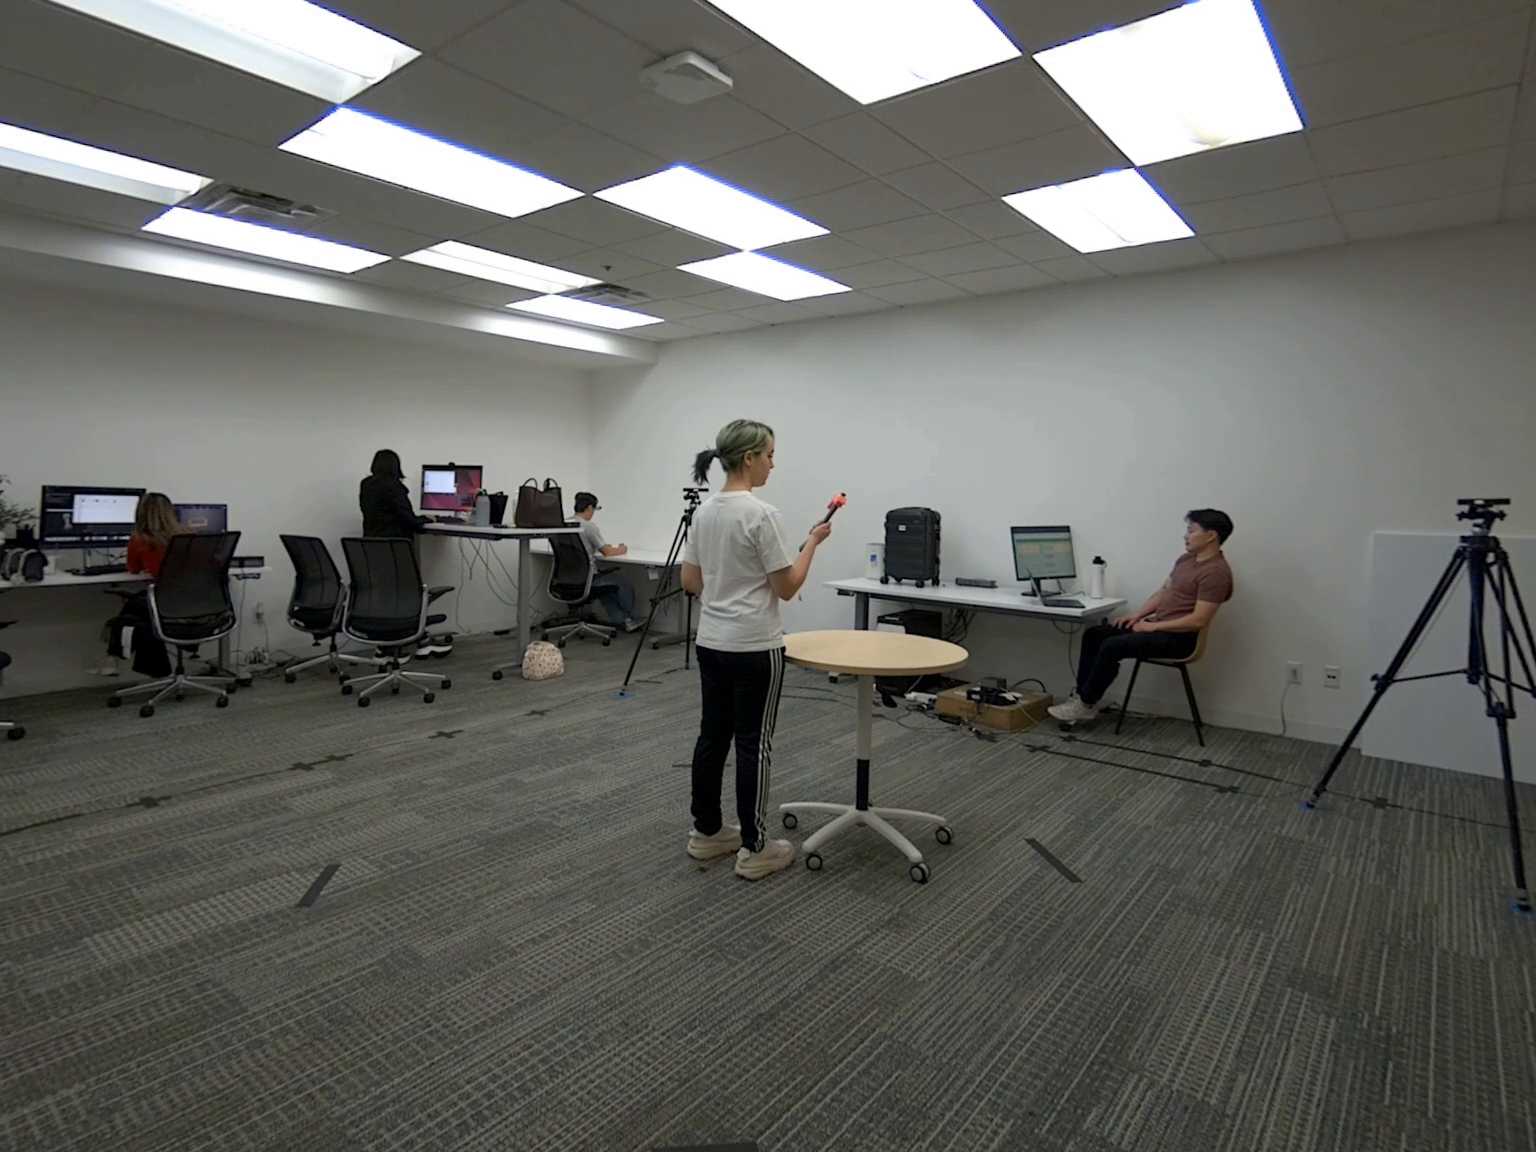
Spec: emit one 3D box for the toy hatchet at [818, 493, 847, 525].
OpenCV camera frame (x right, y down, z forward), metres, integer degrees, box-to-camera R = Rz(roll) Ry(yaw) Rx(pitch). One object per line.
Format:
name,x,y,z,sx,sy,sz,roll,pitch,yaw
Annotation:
toy hatchet,0.200,-0.214,3.188,0.029,0.270,0.134,34,25,-18
